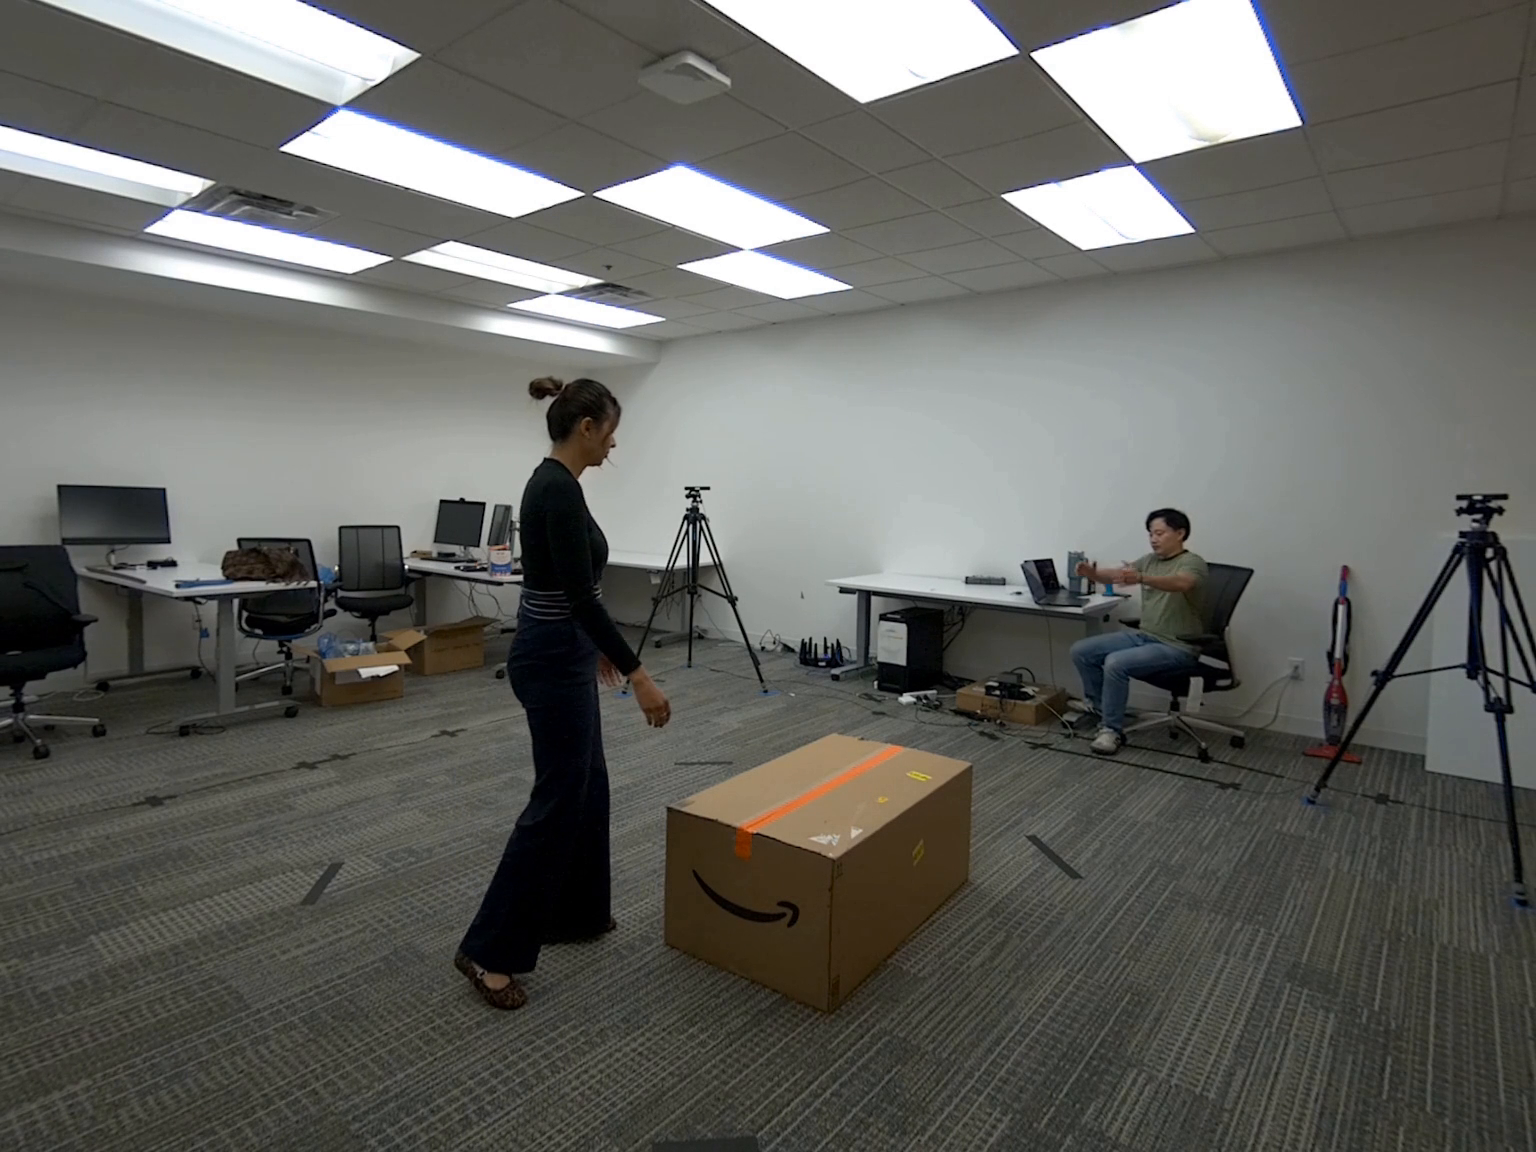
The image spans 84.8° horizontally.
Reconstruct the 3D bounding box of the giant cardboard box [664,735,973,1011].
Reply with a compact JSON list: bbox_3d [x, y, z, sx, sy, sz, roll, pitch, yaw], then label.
[{"bbox_3d":[0.203,0.889,2.811,0.596,0.424,0.997,5,7,34],"label":"giant cardboard box"}]
